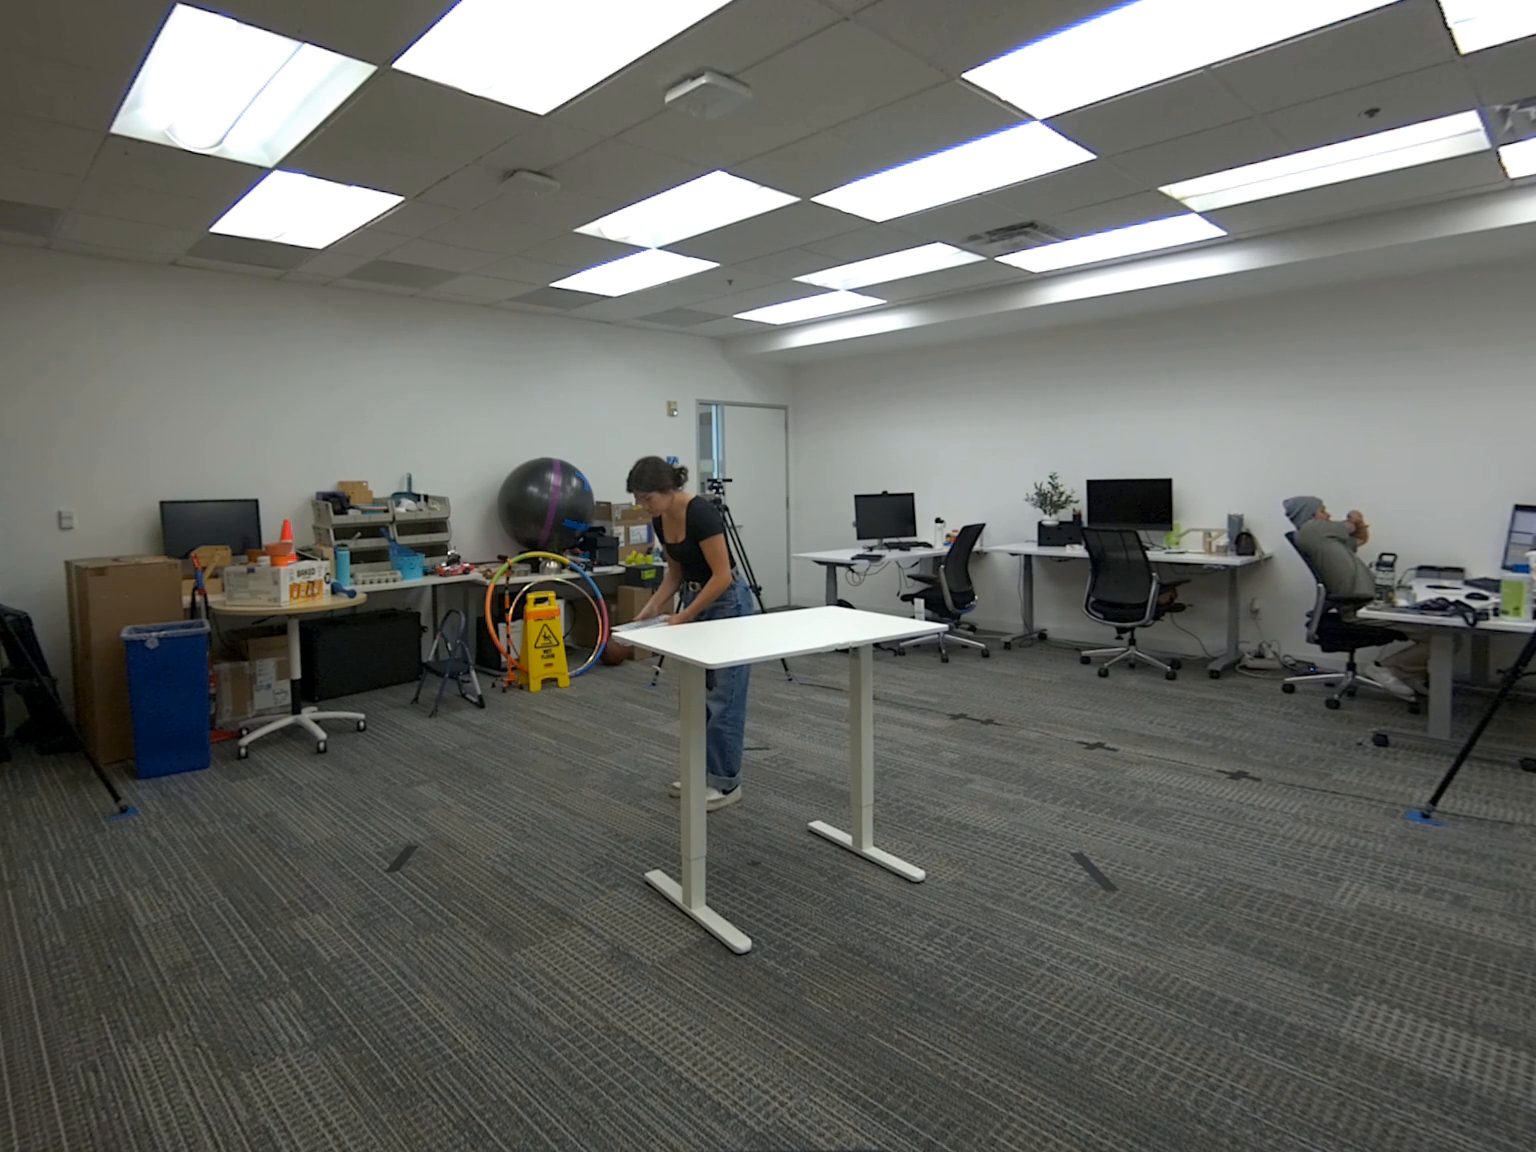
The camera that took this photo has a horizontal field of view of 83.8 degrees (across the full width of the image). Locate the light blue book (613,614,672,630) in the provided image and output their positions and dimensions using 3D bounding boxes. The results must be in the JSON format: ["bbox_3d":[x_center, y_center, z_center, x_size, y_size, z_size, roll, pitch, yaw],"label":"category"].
[{"bbox_3d":[-0.511,0.233,3.594,0.256,0.059,0.196,-9,5,-25],"label":"light blue book"}]
